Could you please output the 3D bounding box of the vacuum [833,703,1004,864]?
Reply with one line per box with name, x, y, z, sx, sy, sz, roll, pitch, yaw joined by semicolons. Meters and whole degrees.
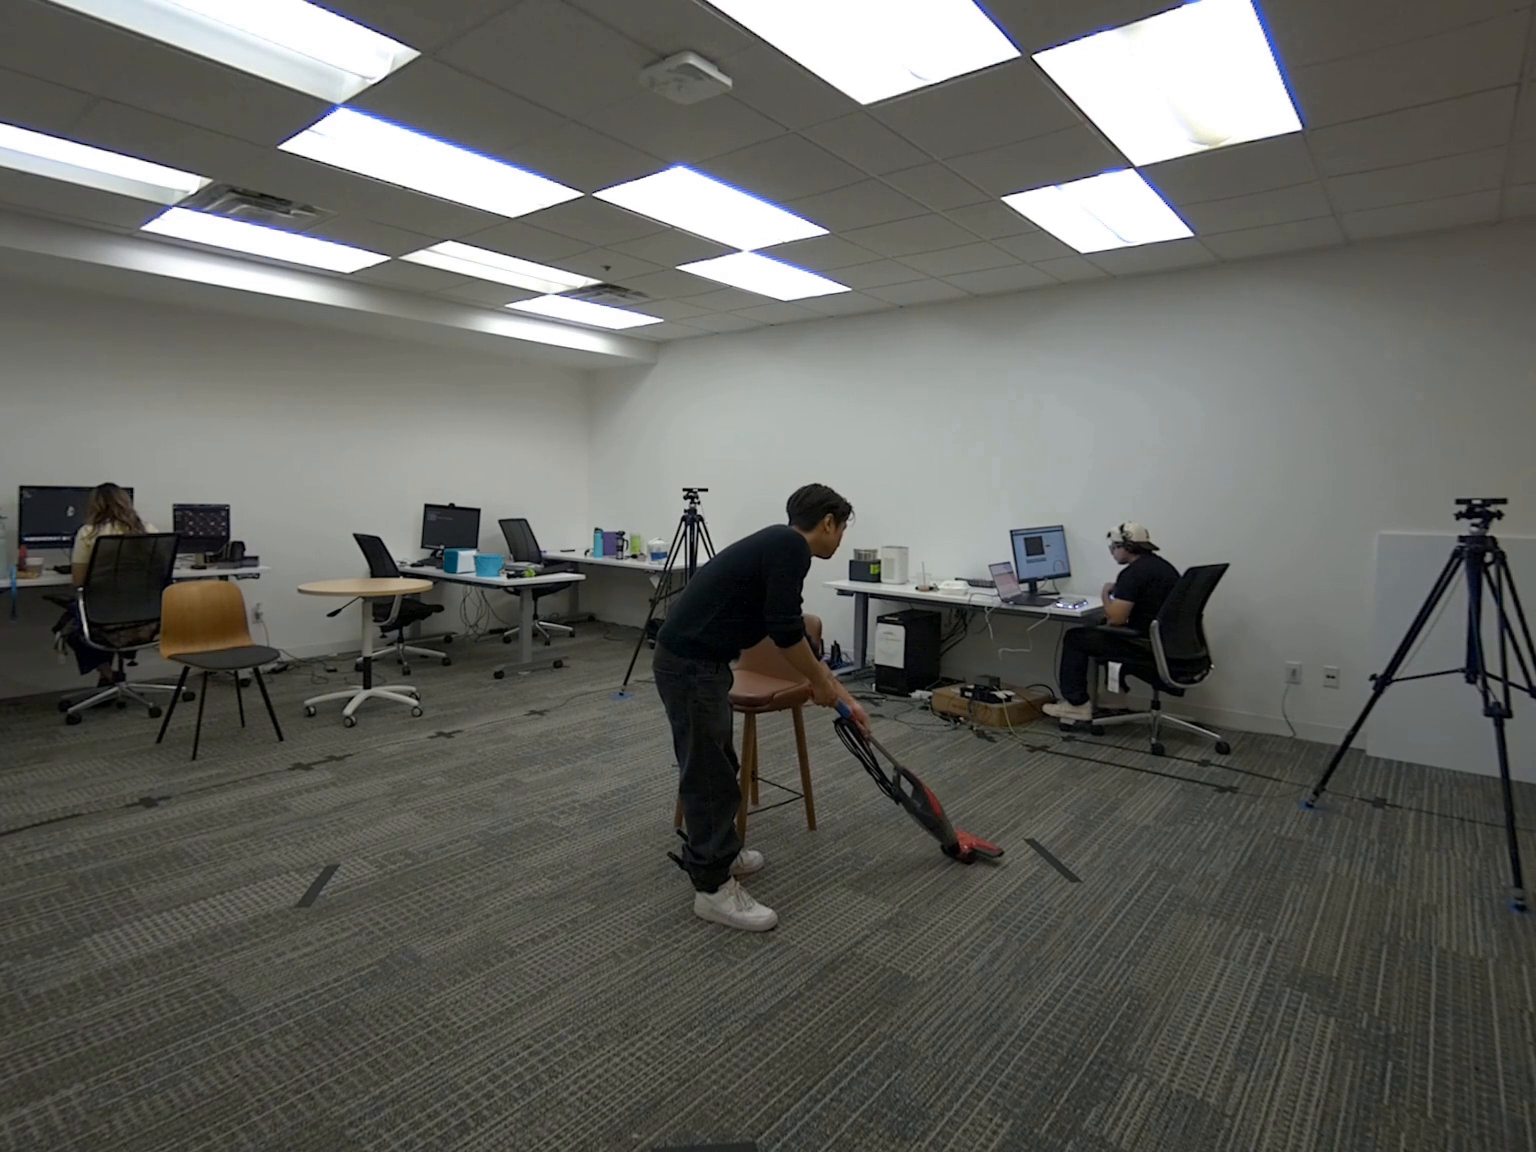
vacuum;0.449;0.731;3.062;1.014;0.144;0.260;46;-21;-26
